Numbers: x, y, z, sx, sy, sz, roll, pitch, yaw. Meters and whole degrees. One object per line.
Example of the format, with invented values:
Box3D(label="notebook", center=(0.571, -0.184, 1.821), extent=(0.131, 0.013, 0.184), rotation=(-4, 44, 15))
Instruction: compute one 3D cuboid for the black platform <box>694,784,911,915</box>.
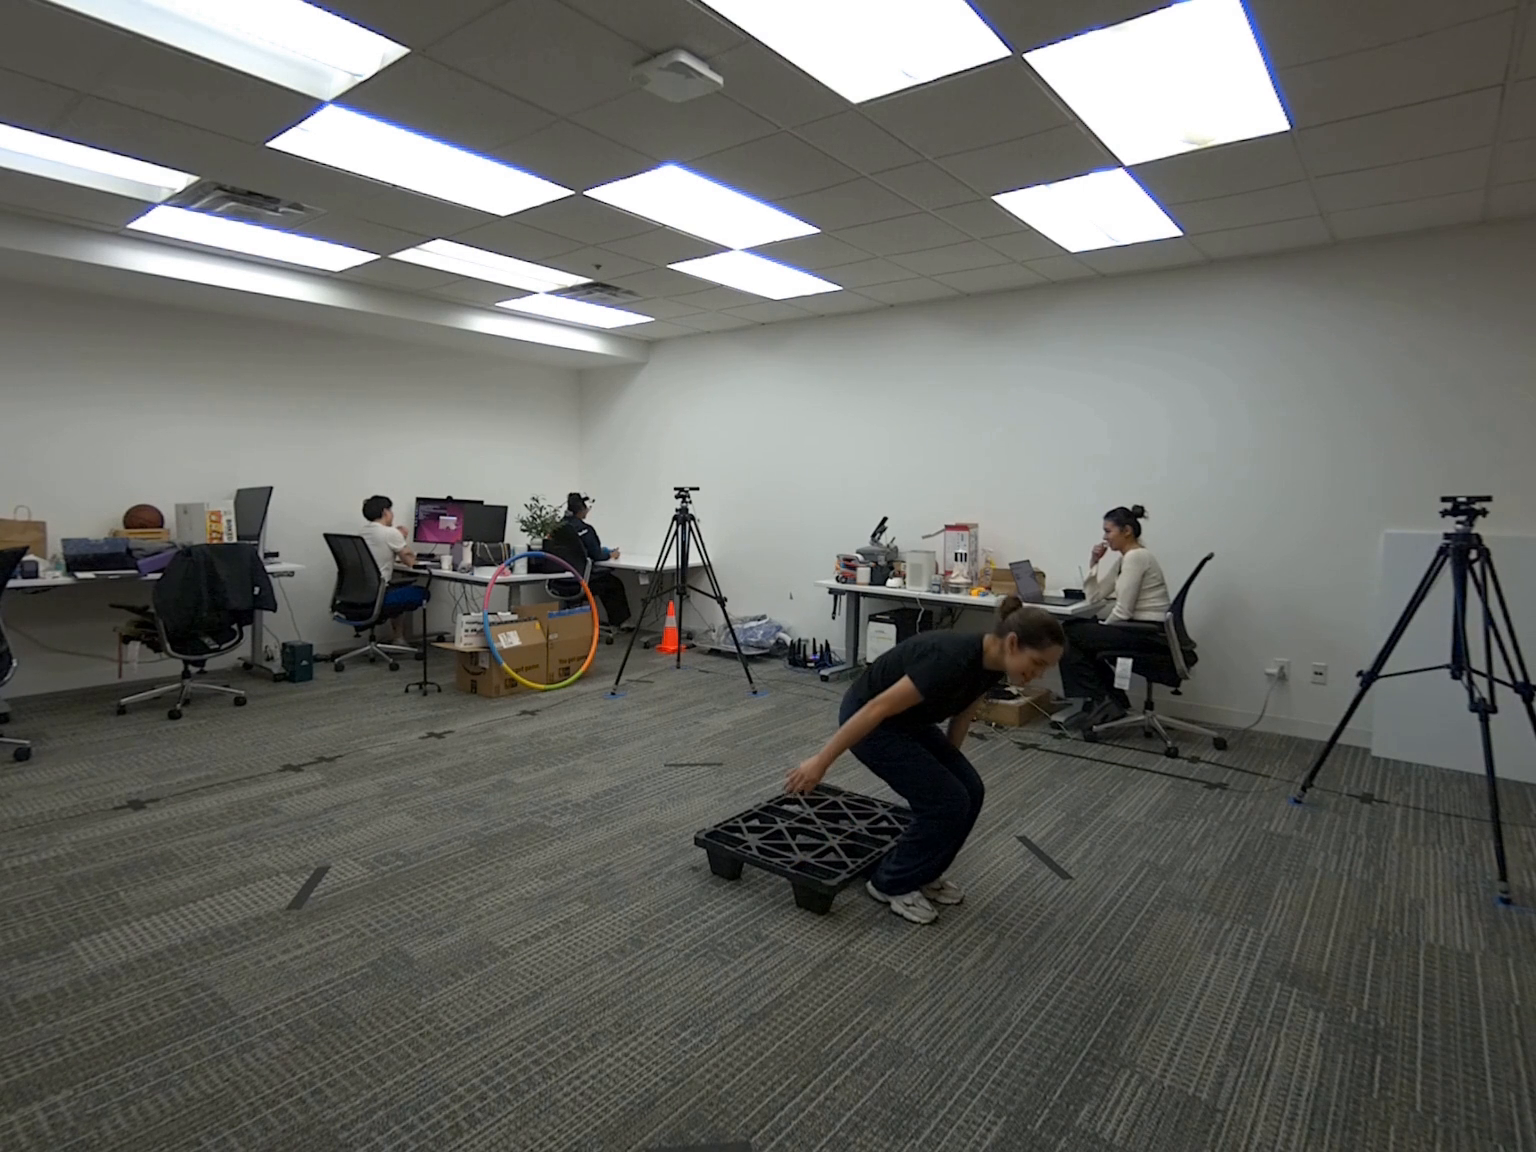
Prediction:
Box3D(label="black platform", center=(0.204, 0.995, 3.209), extent=(0.625, 0.143, 0.782), rotation=(5, 6, 38))
